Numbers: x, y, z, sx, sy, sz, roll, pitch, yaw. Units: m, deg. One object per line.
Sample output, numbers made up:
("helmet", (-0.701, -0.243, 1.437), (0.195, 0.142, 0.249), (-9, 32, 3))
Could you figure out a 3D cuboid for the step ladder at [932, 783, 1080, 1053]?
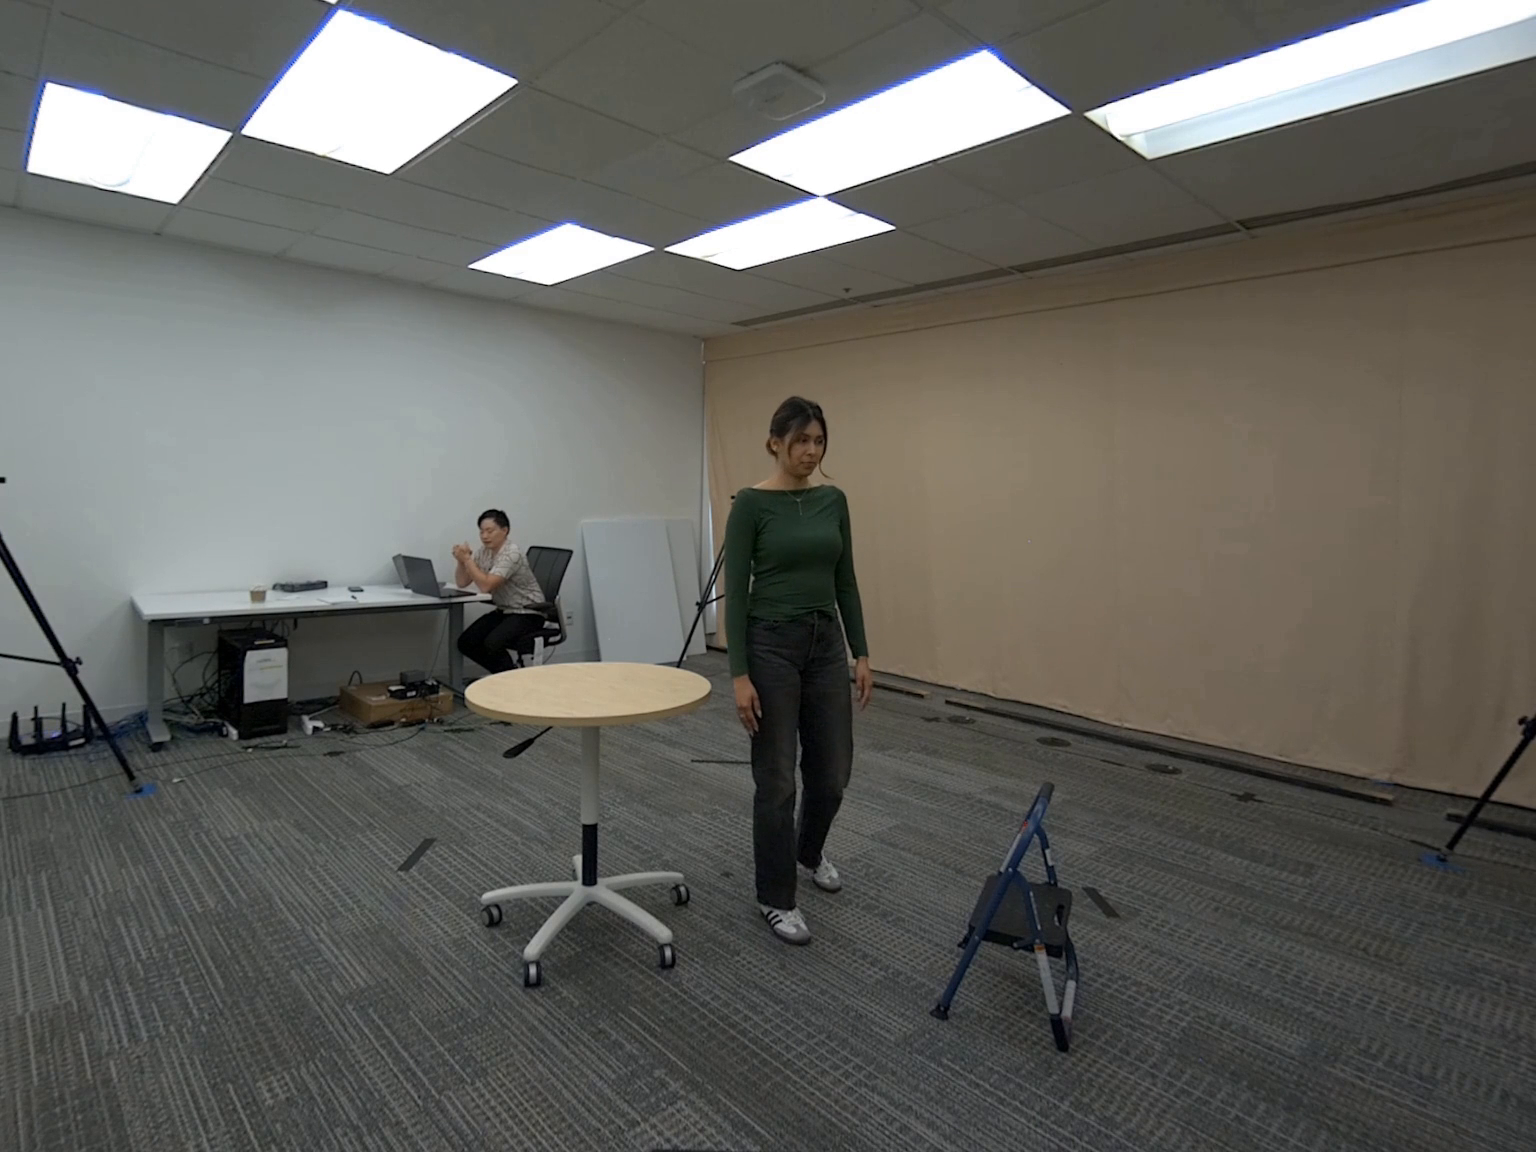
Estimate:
("step ladder", (0.688, 0.888, 2.370), (0.356, 0.604, 0.423), (3, 4, 24))
